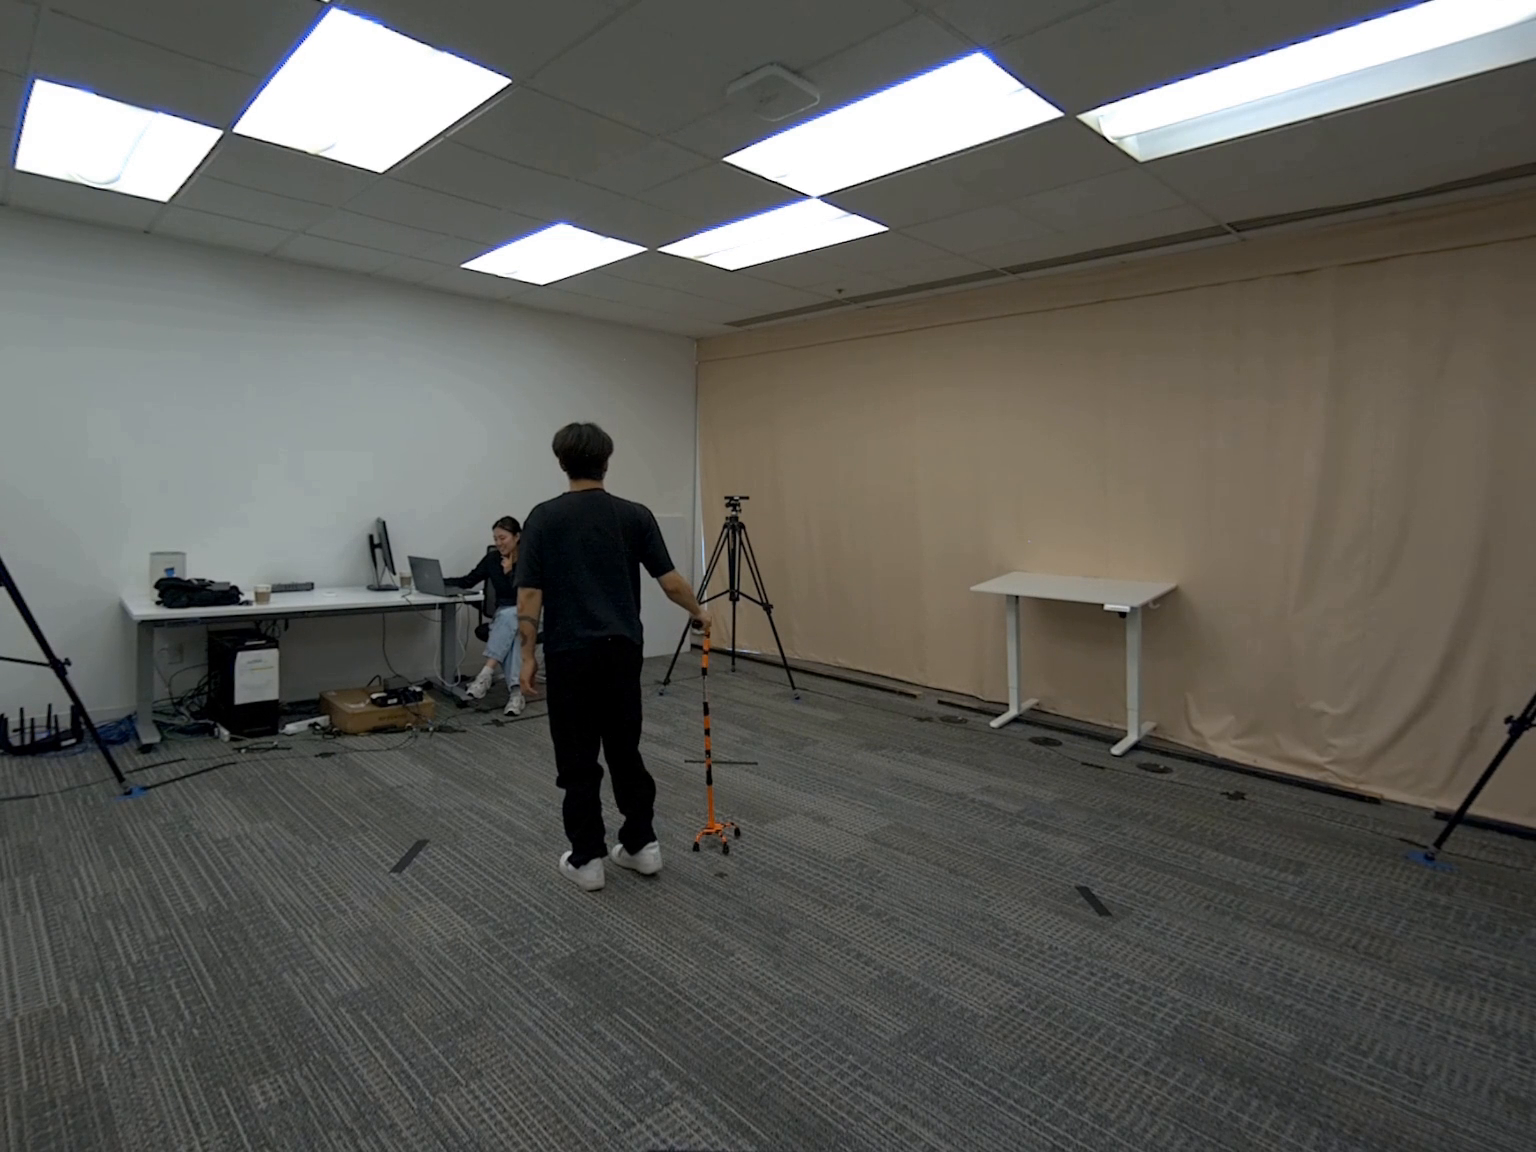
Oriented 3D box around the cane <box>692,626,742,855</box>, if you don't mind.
[{"bbox_3d":[-0.233,0.623,3.373,0.153,0.907,0.205,-2,1,10],"label":"cane"}]
